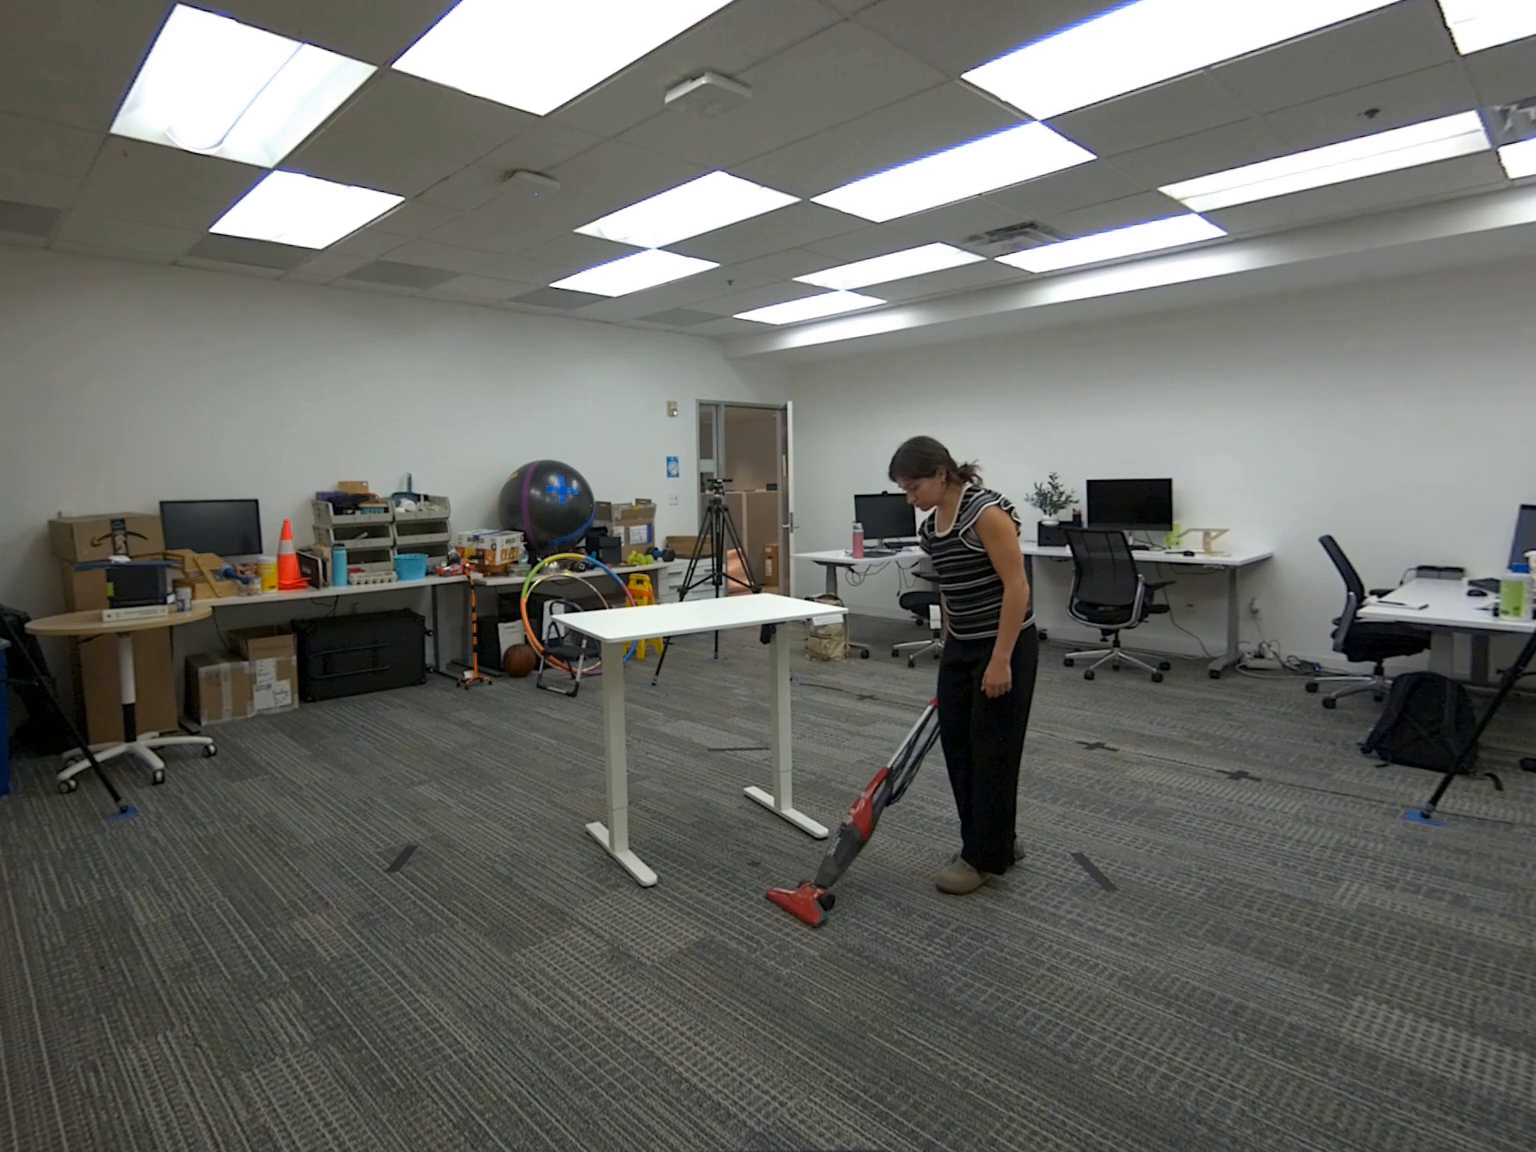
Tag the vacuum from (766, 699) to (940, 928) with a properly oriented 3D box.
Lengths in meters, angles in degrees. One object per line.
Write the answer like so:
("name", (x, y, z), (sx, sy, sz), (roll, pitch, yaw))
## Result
("vacuum", (0.426, 0.747, 2.978), (1.046, 0.140, 0.260), (-42, 28, -24))
